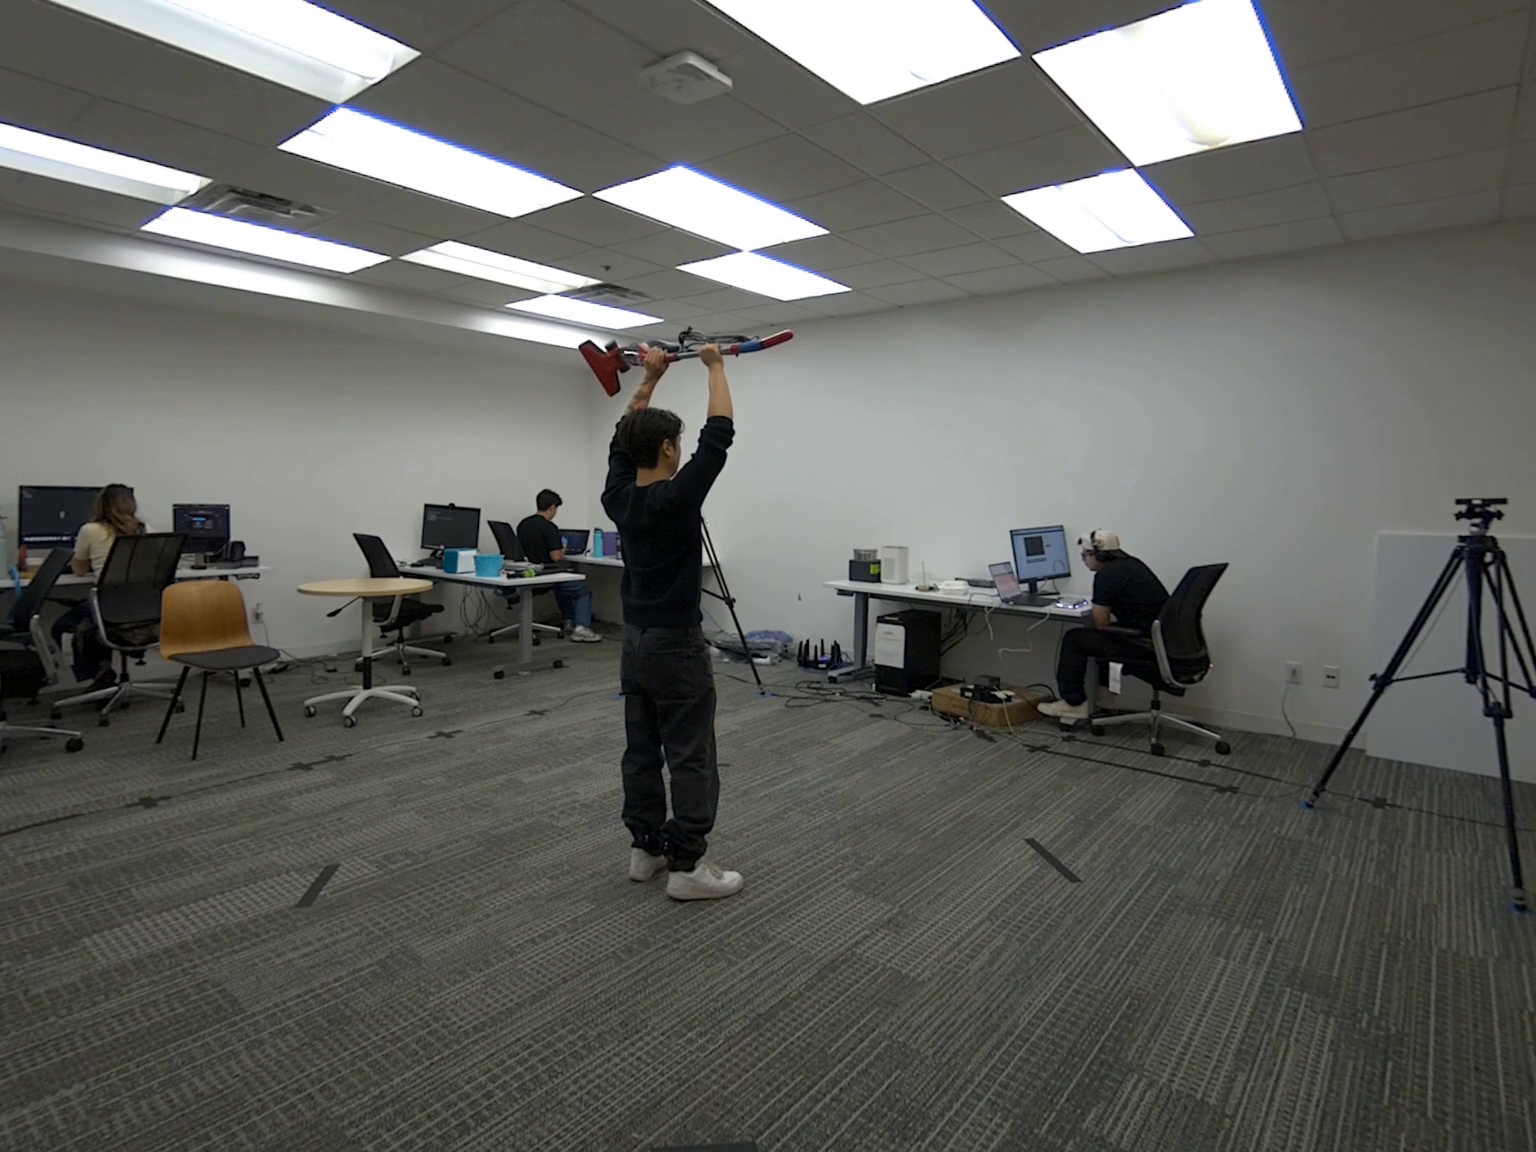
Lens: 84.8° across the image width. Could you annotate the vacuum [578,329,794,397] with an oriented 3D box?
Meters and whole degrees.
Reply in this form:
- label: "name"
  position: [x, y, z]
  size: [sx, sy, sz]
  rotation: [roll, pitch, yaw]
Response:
- label: "vacuum"
  position: [-0.309, -0.844, 3.144]
  size: [1.085, 0.244, 0.144]
  rotation: [6, 48, 46]
